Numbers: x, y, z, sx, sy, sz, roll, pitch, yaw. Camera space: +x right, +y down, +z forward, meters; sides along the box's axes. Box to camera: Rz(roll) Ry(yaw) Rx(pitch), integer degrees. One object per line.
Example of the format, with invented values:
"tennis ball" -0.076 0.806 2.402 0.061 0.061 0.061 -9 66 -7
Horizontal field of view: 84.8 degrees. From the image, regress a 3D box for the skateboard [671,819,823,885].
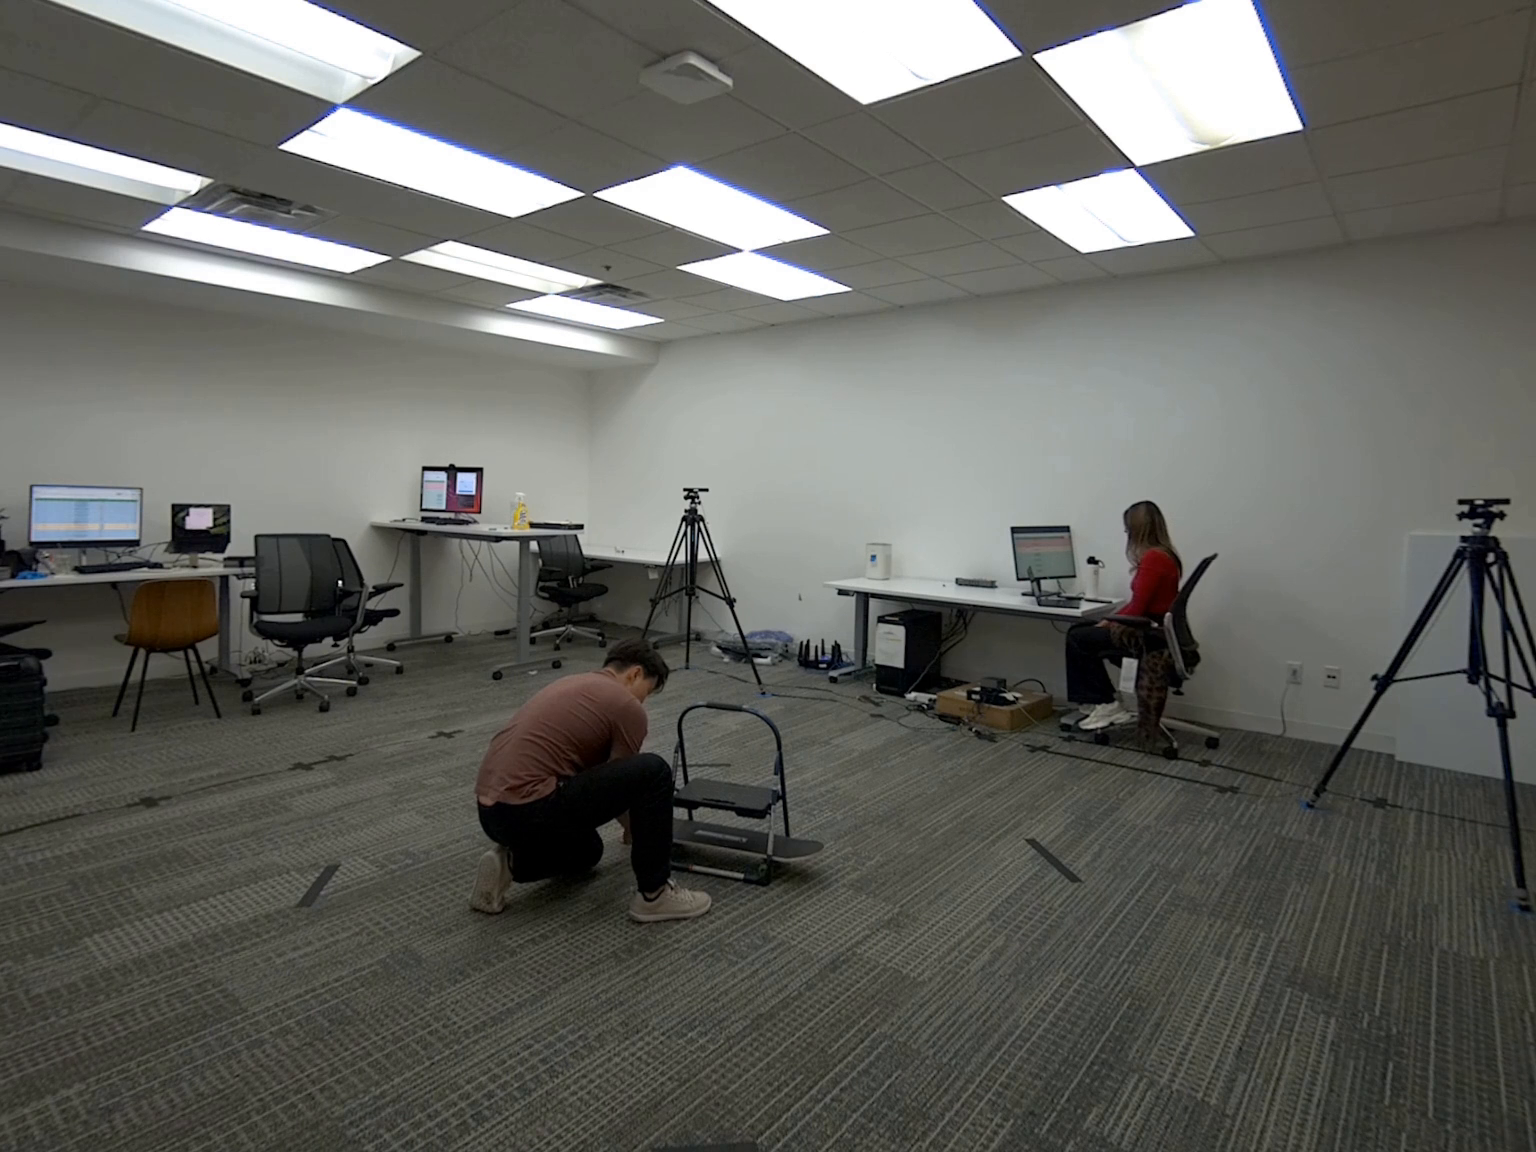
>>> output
"skateboard" -0.182 1.006 3.188 0.802 0.110 0.190 2 5 19
